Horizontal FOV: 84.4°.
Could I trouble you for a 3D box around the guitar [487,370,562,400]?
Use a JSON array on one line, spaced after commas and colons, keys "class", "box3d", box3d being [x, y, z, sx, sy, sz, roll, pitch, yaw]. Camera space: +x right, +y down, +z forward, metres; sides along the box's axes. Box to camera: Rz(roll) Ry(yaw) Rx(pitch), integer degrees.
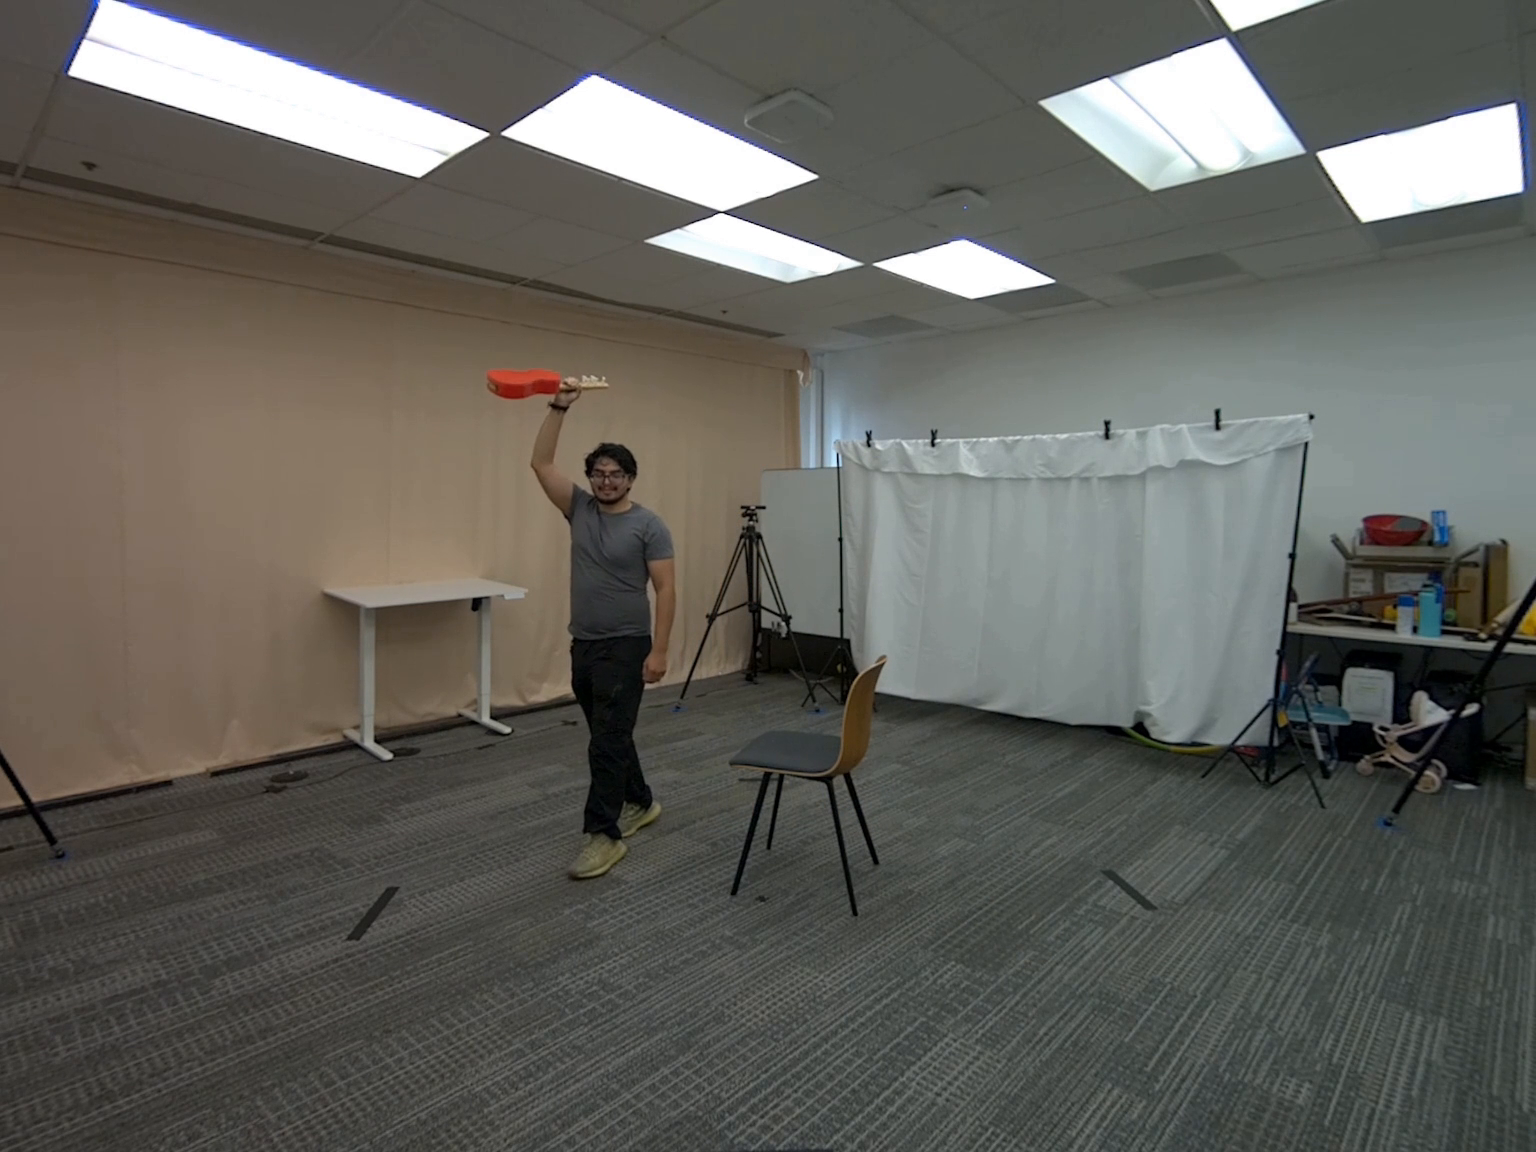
[{"class": "guitar", "box3d": [-0.863, -0.760, 3.276, 0.200, 0.070, 0.486, 26, 32, 34]}]
